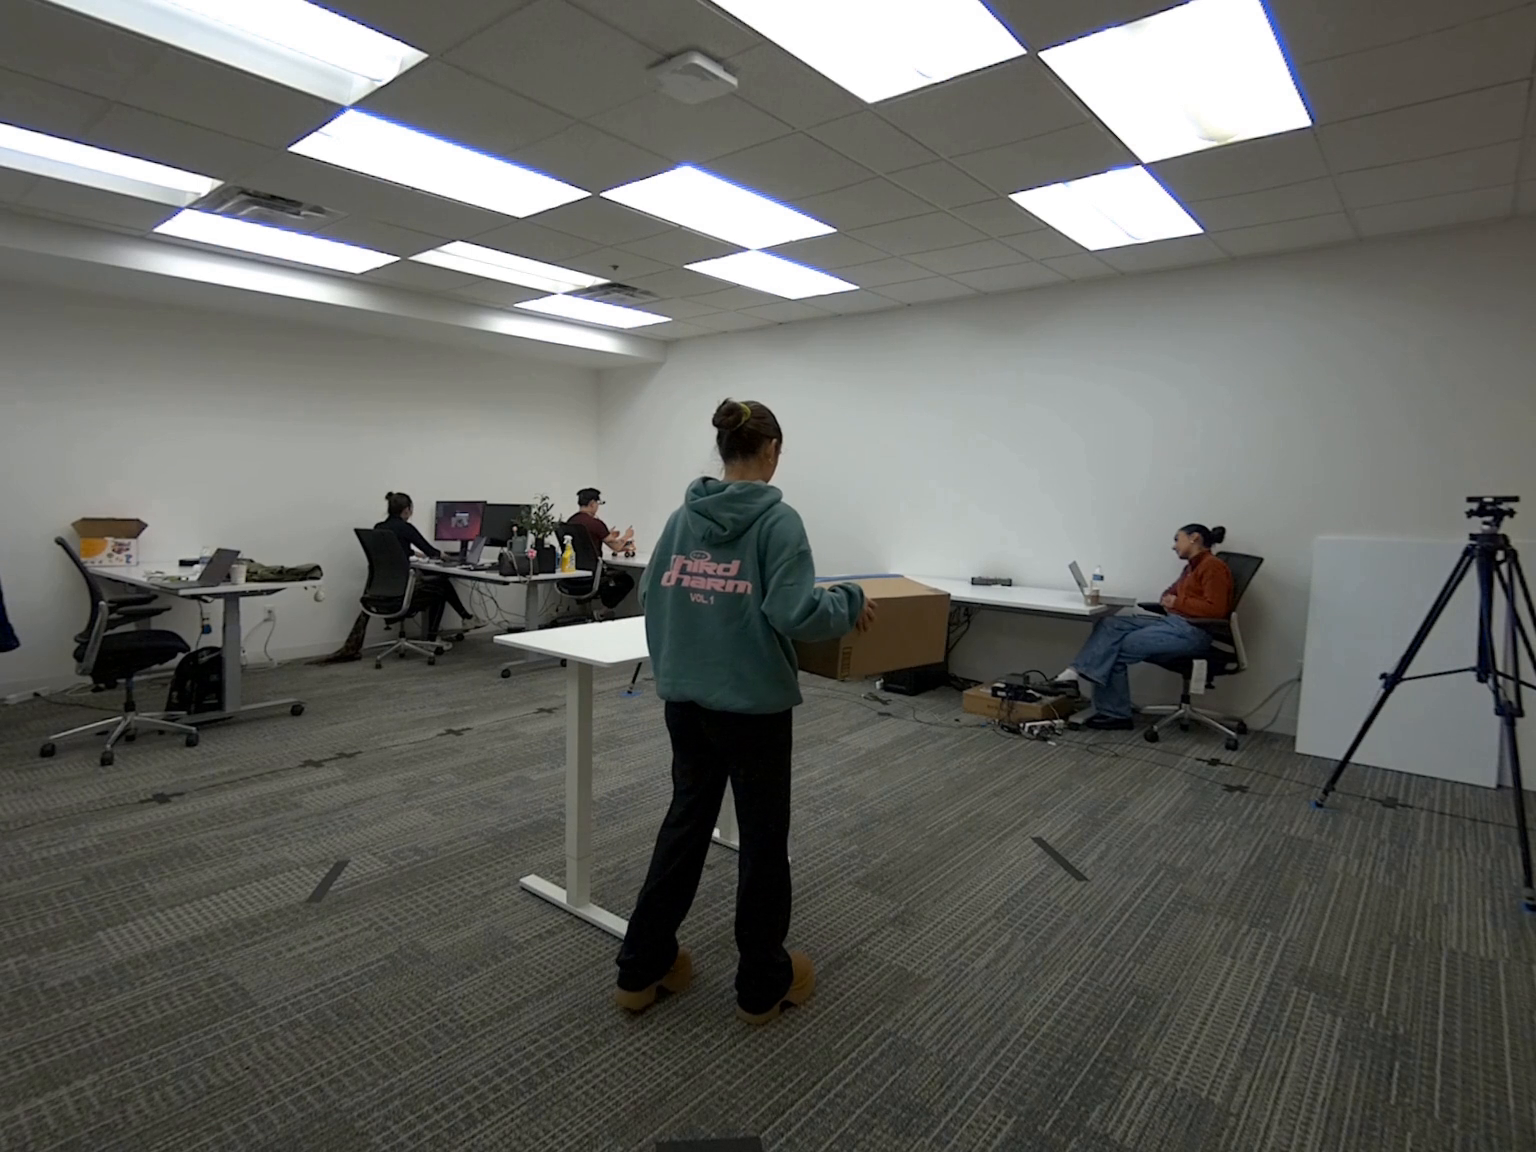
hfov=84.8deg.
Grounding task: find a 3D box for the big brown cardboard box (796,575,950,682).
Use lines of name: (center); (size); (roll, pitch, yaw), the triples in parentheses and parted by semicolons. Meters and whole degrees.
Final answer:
big brown cardboard box: (0.208, 0.127, 2.558); (0.432, 0.232, 0.571); (9, 8, 42)
